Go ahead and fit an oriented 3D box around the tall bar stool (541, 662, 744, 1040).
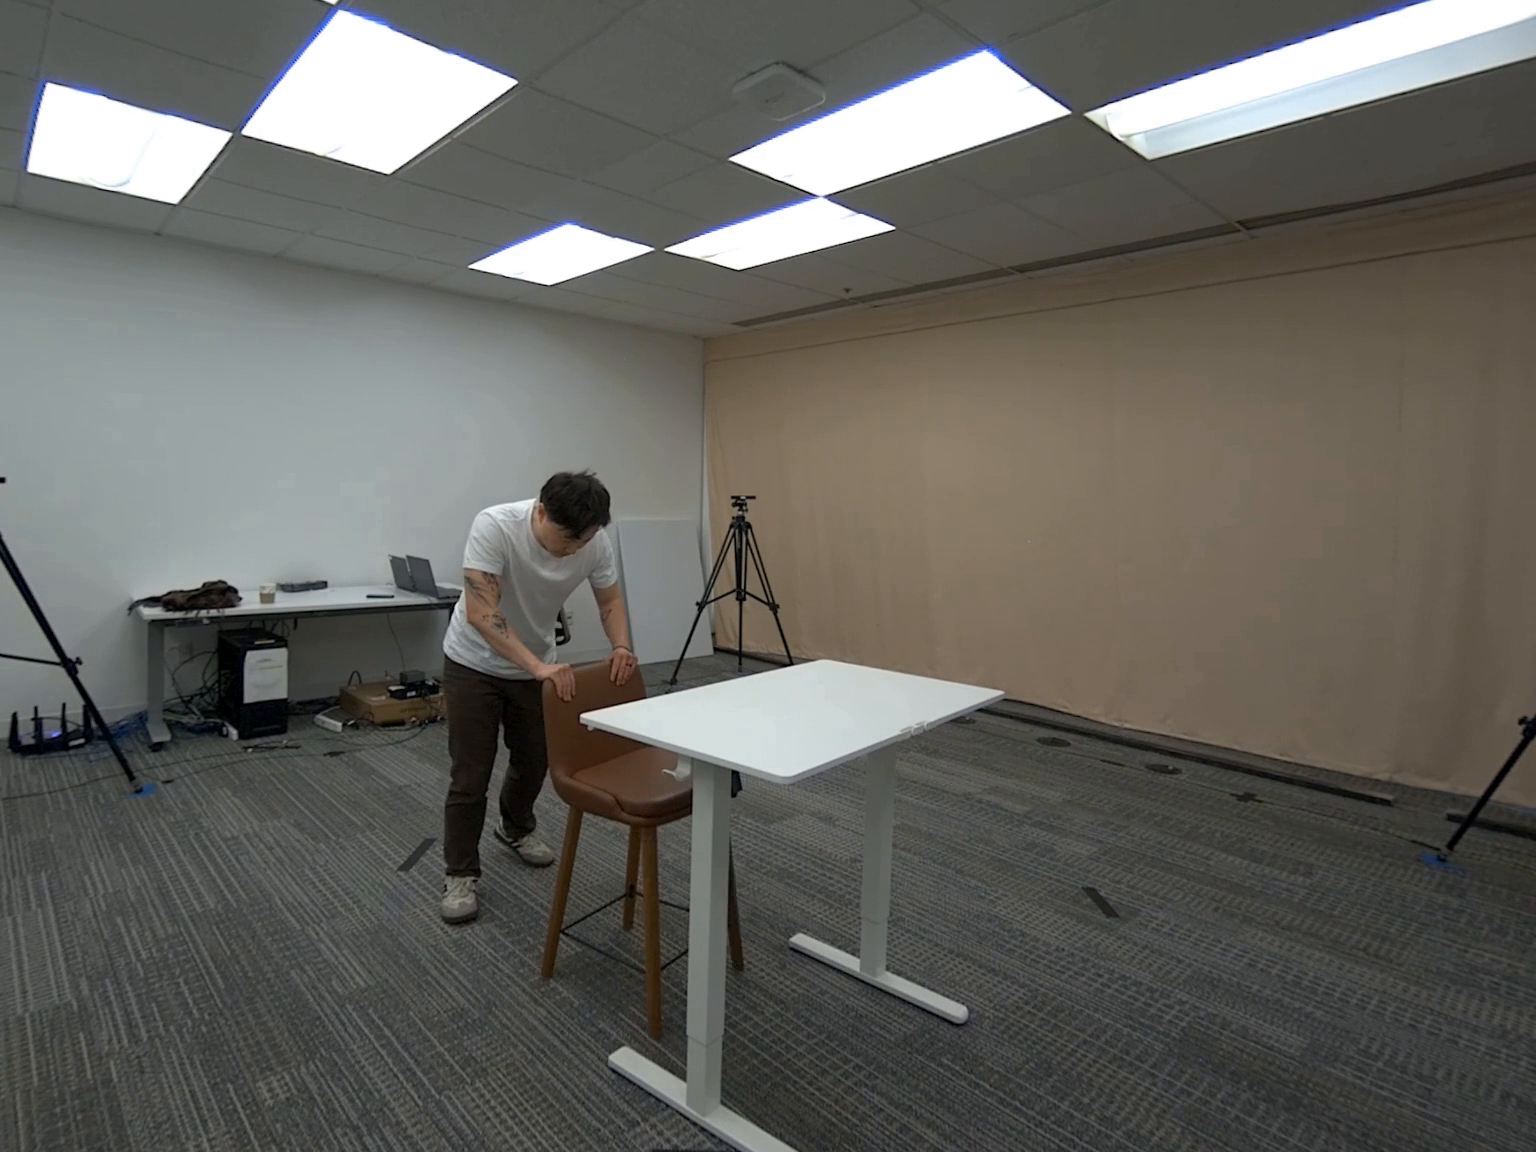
[{"bbox_3d":[-0.372,0.724,2.424,0.478,0.888,0.447,1,3,35],"label":"tall bar stool"}]
